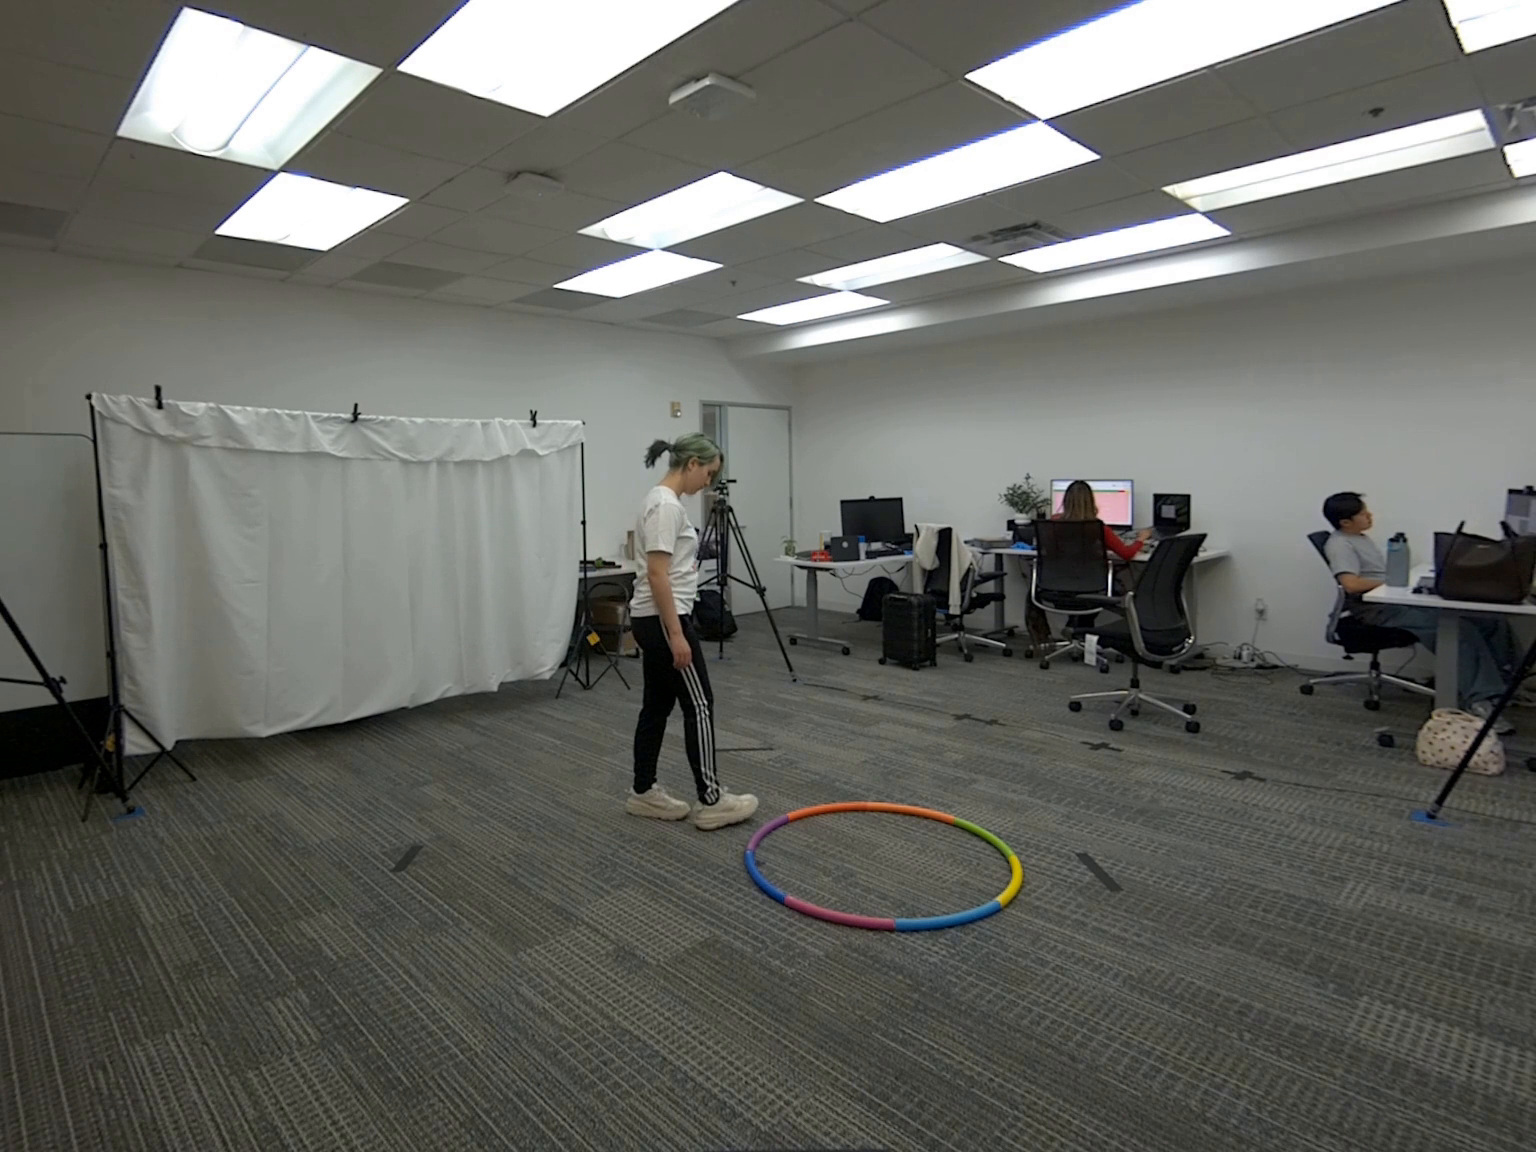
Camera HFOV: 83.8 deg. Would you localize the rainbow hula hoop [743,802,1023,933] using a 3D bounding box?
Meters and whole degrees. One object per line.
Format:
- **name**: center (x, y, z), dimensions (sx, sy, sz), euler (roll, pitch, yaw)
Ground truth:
- **rainbow hula hoop**: center (0.400, 1.009, 3.111), dimensions (0.978, 0.035, 0.984), euler (-2, 7, -2)
